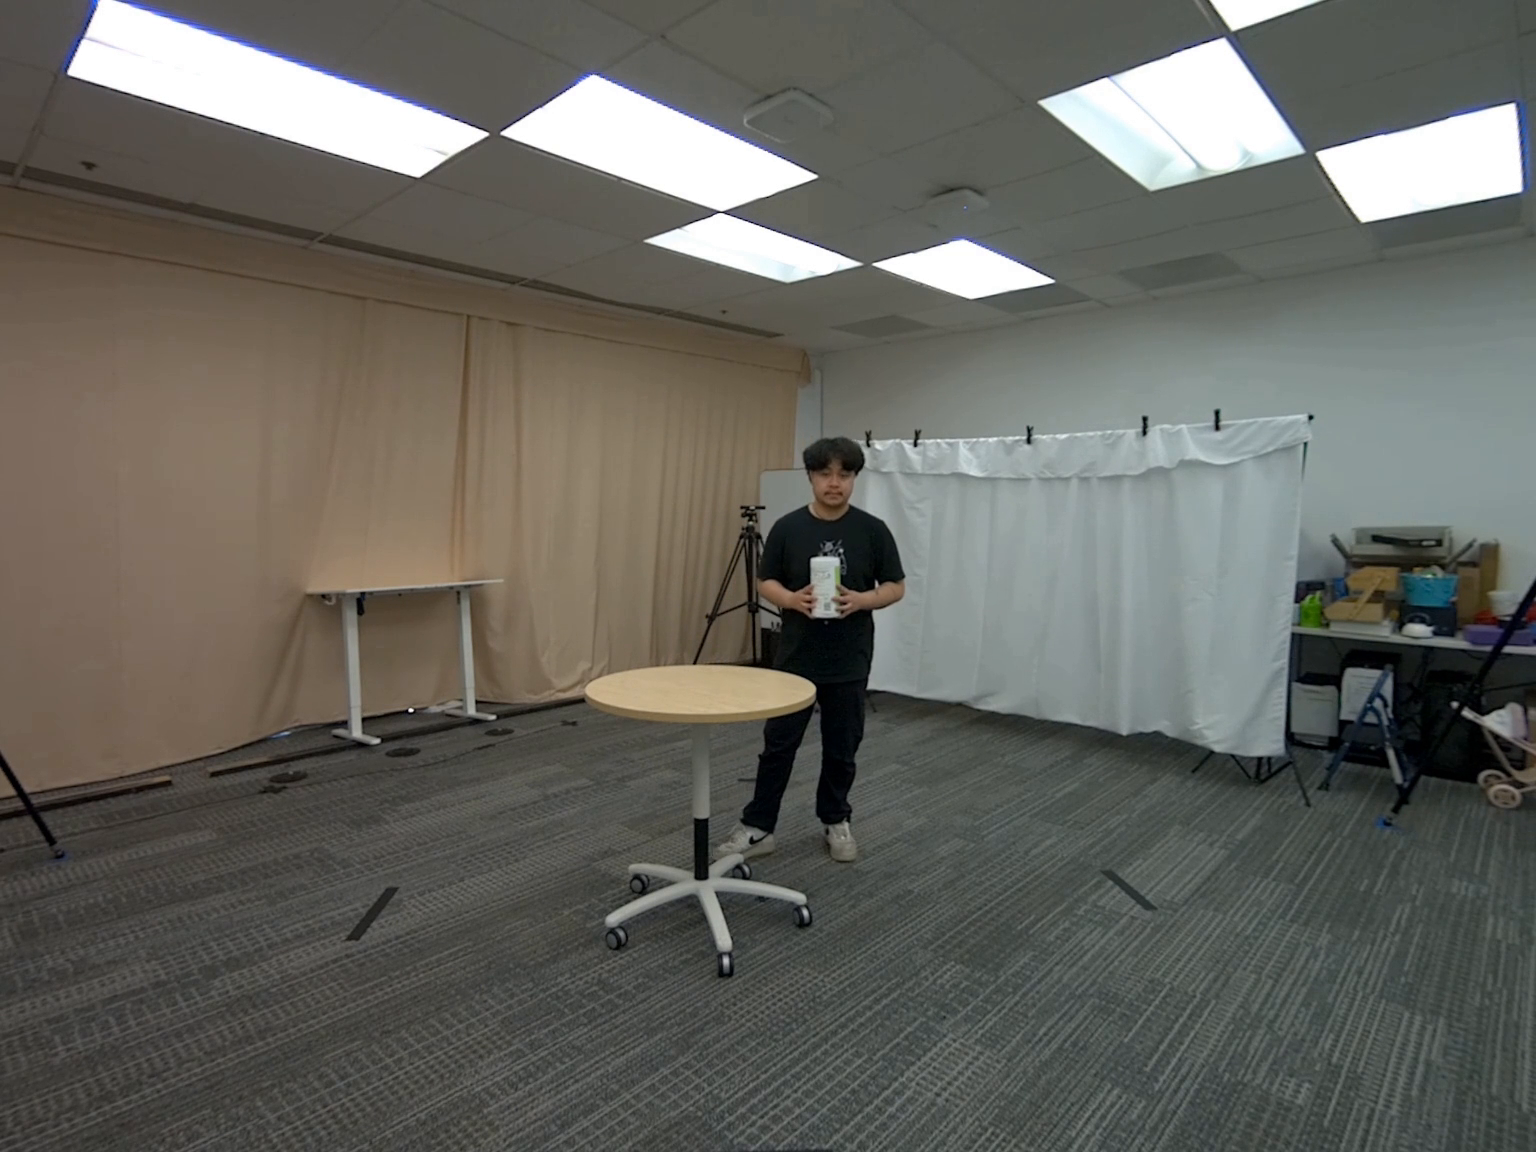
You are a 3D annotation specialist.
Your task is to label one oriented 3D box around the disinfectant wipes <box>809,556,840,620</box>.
[{"bbox_3d":[0.207,0.037,3.098,0.118,0.216,0.118,-1,6,-2],"label":"disinfectant wipes"}]
